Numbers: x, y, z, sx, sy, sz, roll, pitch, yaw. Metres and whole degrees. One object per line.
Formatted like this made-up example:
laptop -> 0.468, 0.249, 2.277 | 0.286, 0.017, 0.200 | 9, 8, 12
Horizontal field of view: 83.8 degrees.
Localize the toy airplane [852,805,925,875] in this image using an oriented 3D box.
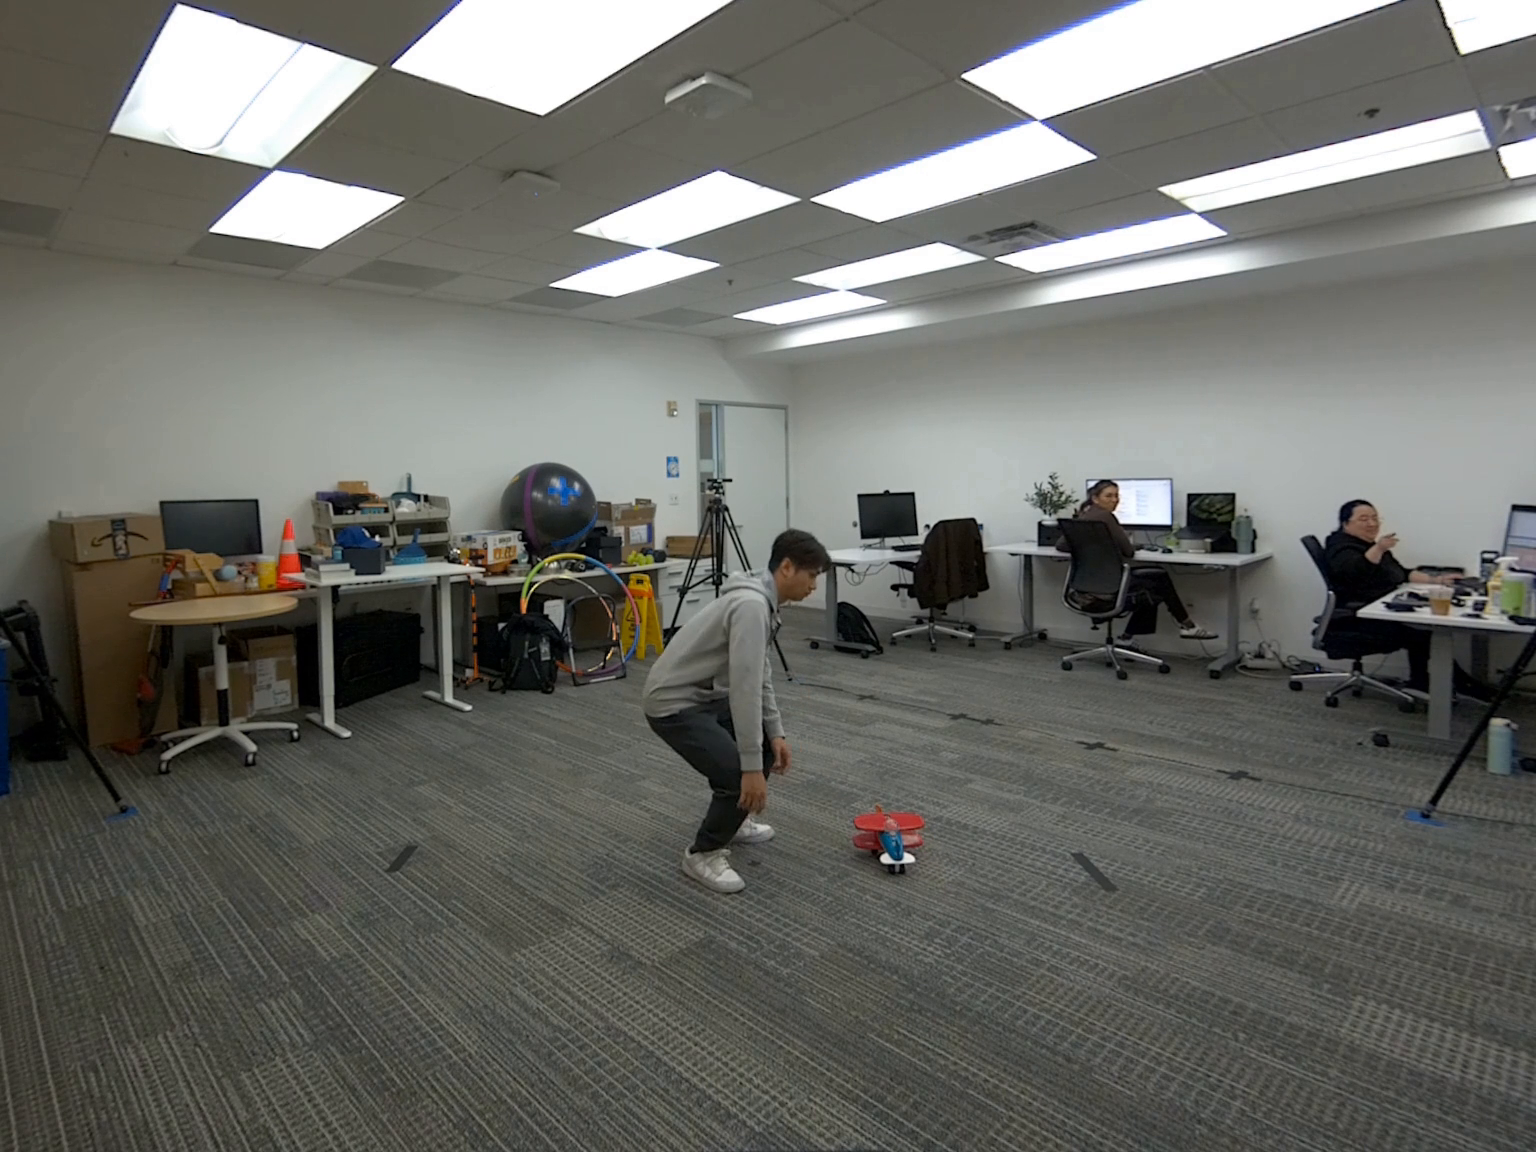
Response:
toy airplane -> 0.467, 0.967, 3.102 | 0.245, 0.156, 0.266 | -3, 7, -30
